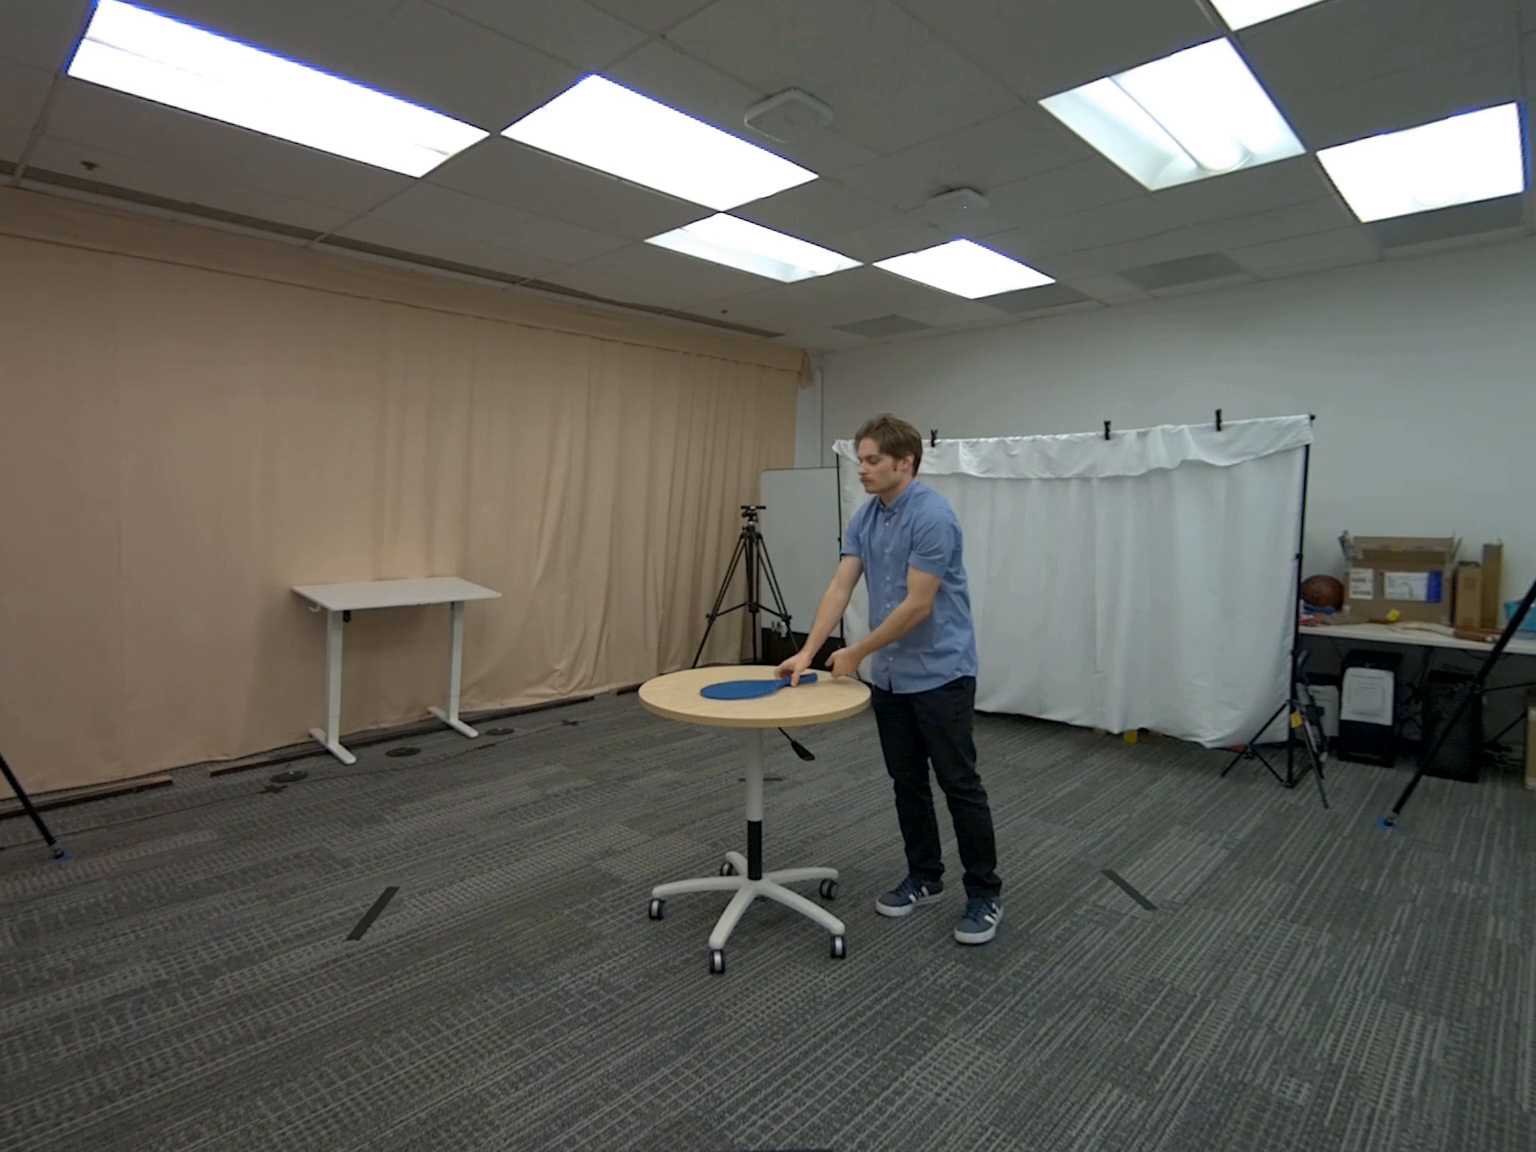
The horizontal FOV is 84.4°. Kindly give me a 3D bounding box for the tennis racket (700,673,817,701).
[{"bbox_3d":[-0.017,0.372,2.770,0.423,0.031,0.219,-5,6,-24],"label":"tennis racket"}]
